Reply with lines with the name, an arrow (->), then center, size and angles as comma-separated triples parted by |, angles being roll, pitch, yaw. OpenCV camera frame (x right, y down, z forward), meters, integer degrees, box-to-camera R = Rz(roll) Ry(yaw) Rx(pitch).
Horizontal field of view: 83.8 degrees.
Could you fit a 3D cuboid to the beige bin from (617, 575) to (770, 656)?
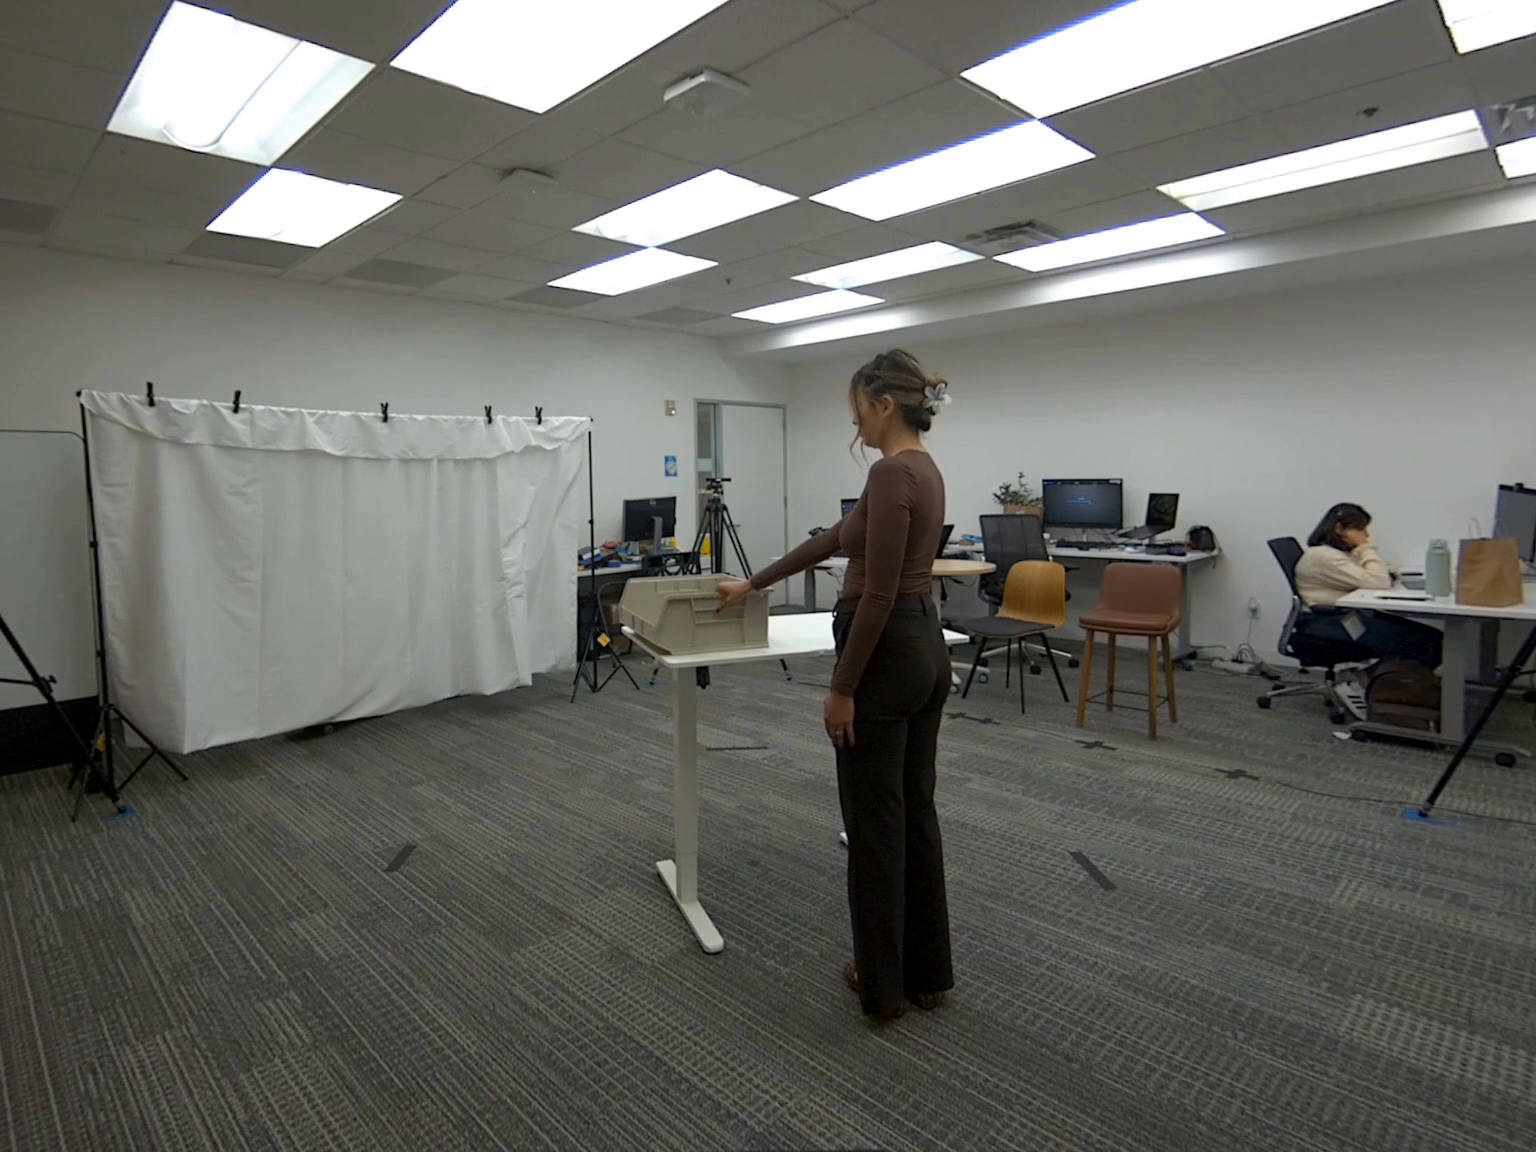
beige bin -> -0.237, 0.115, 2.717 | 0.370, 0.188, 0.432 | -2, 6, -23
